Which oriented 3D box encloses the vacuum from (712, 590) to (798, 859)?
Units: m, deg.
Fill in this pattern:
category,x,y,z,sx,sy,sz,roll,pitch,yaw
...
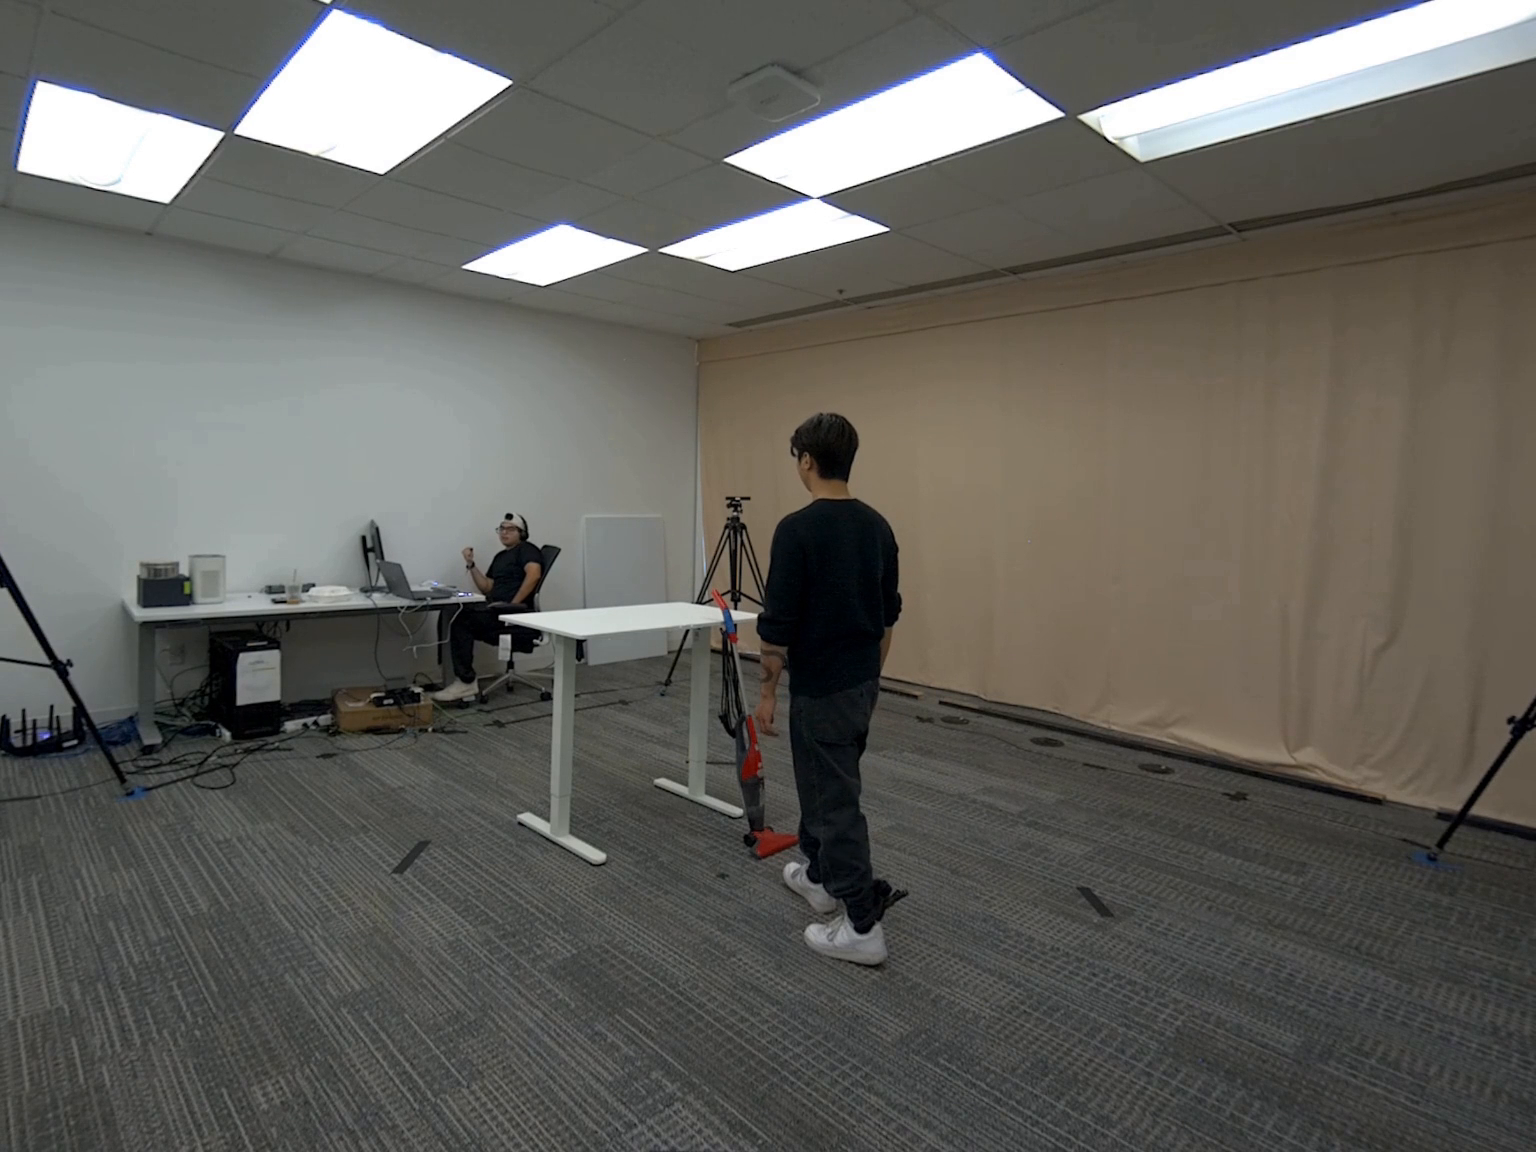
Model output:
category,x,y,z,sx,sy,sz,roll,pitch,yaw
vacuum,-0.119,0.578,3.481,0.146,1.060,0.246,-21,-14,40
